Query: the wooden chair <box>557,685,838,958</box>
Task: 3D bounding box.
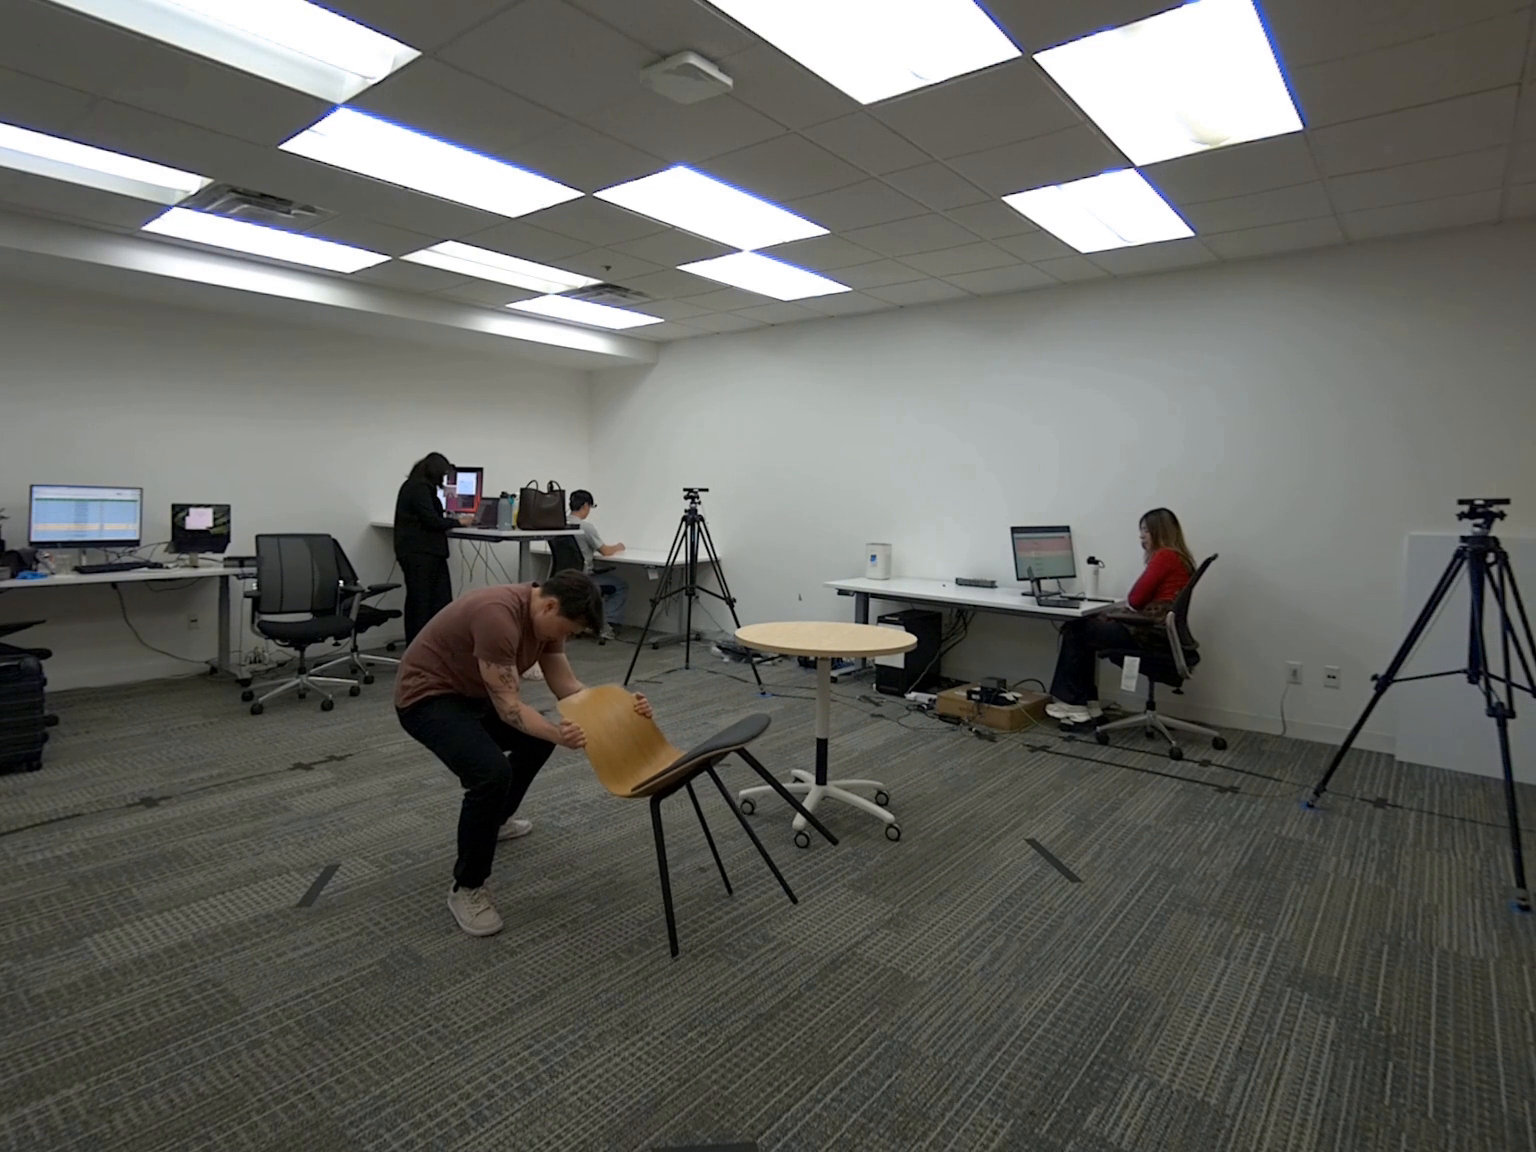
[{"bbox_3d":[-0.232,0.621,2.699,0.526,0.891,0.468,-37,-11,20],"label":"wooden chair"}]
